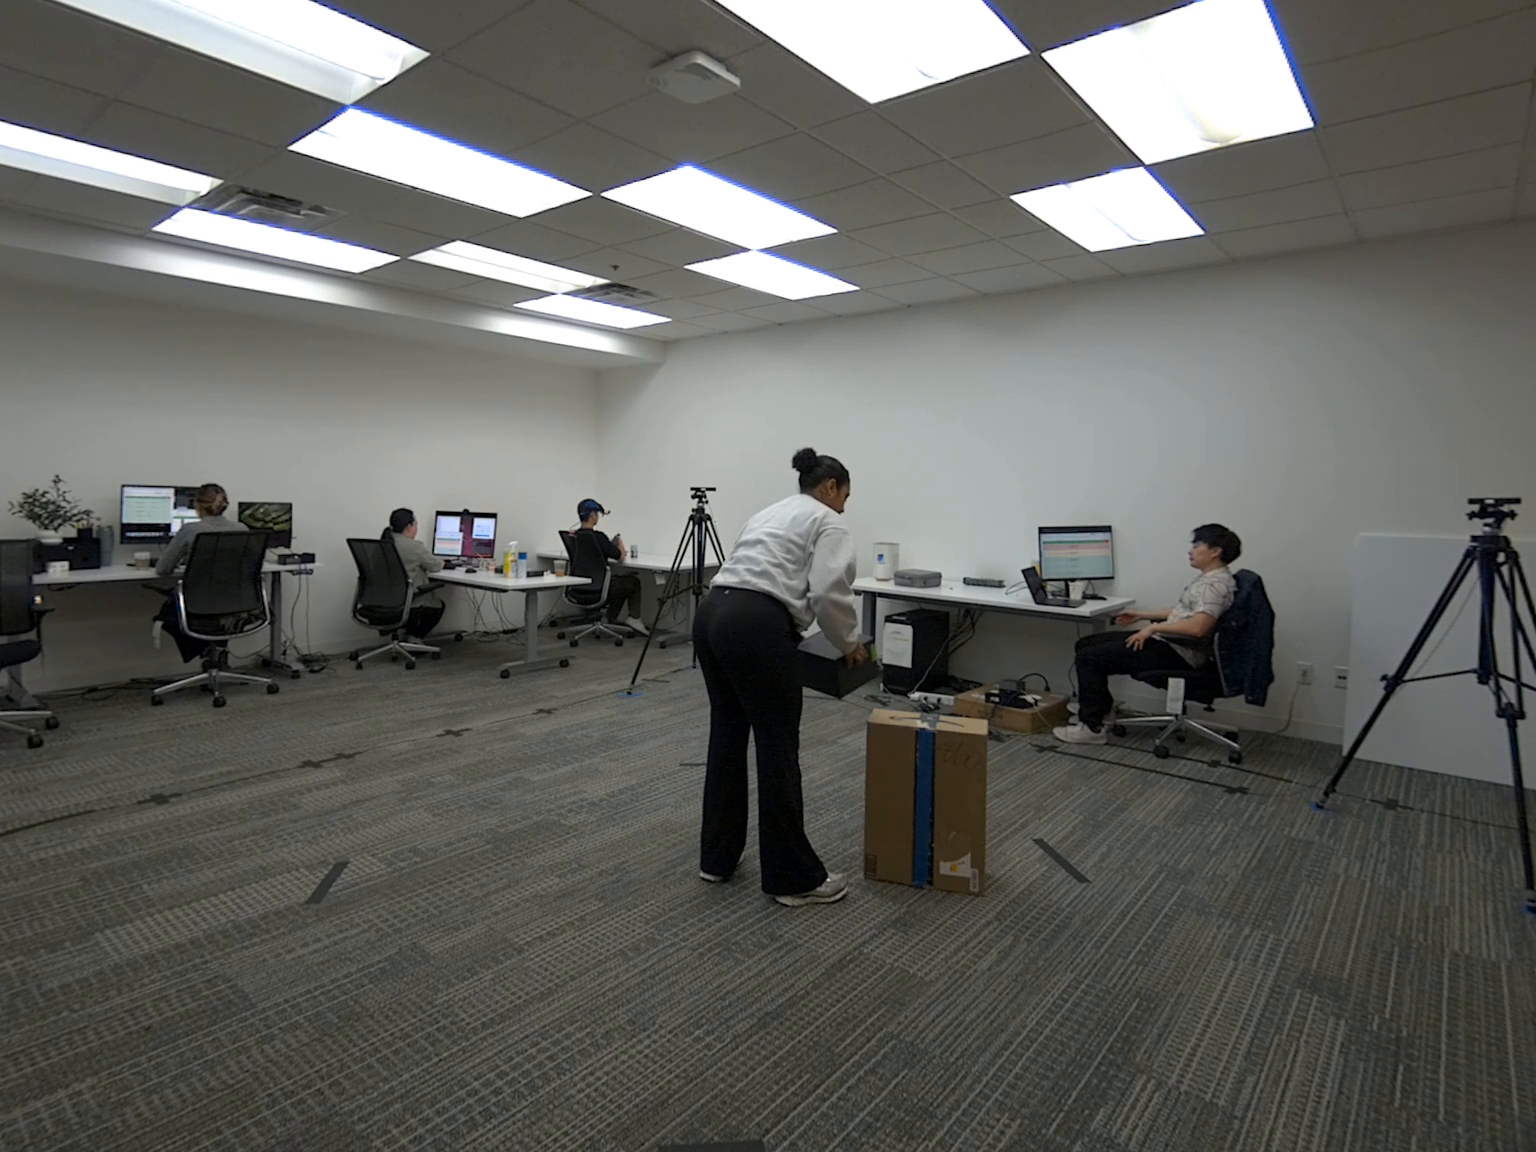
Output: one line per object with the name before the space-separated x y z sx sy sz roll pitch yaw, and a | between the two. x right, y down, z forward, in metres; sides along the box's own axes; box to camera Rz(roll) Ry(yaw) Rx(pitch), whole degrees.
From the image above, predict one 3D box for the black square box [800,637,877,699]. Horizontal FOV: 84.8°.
black square box | 0.247 0.334 3.148 0.213 0.153 0.236 -23 22 -36
